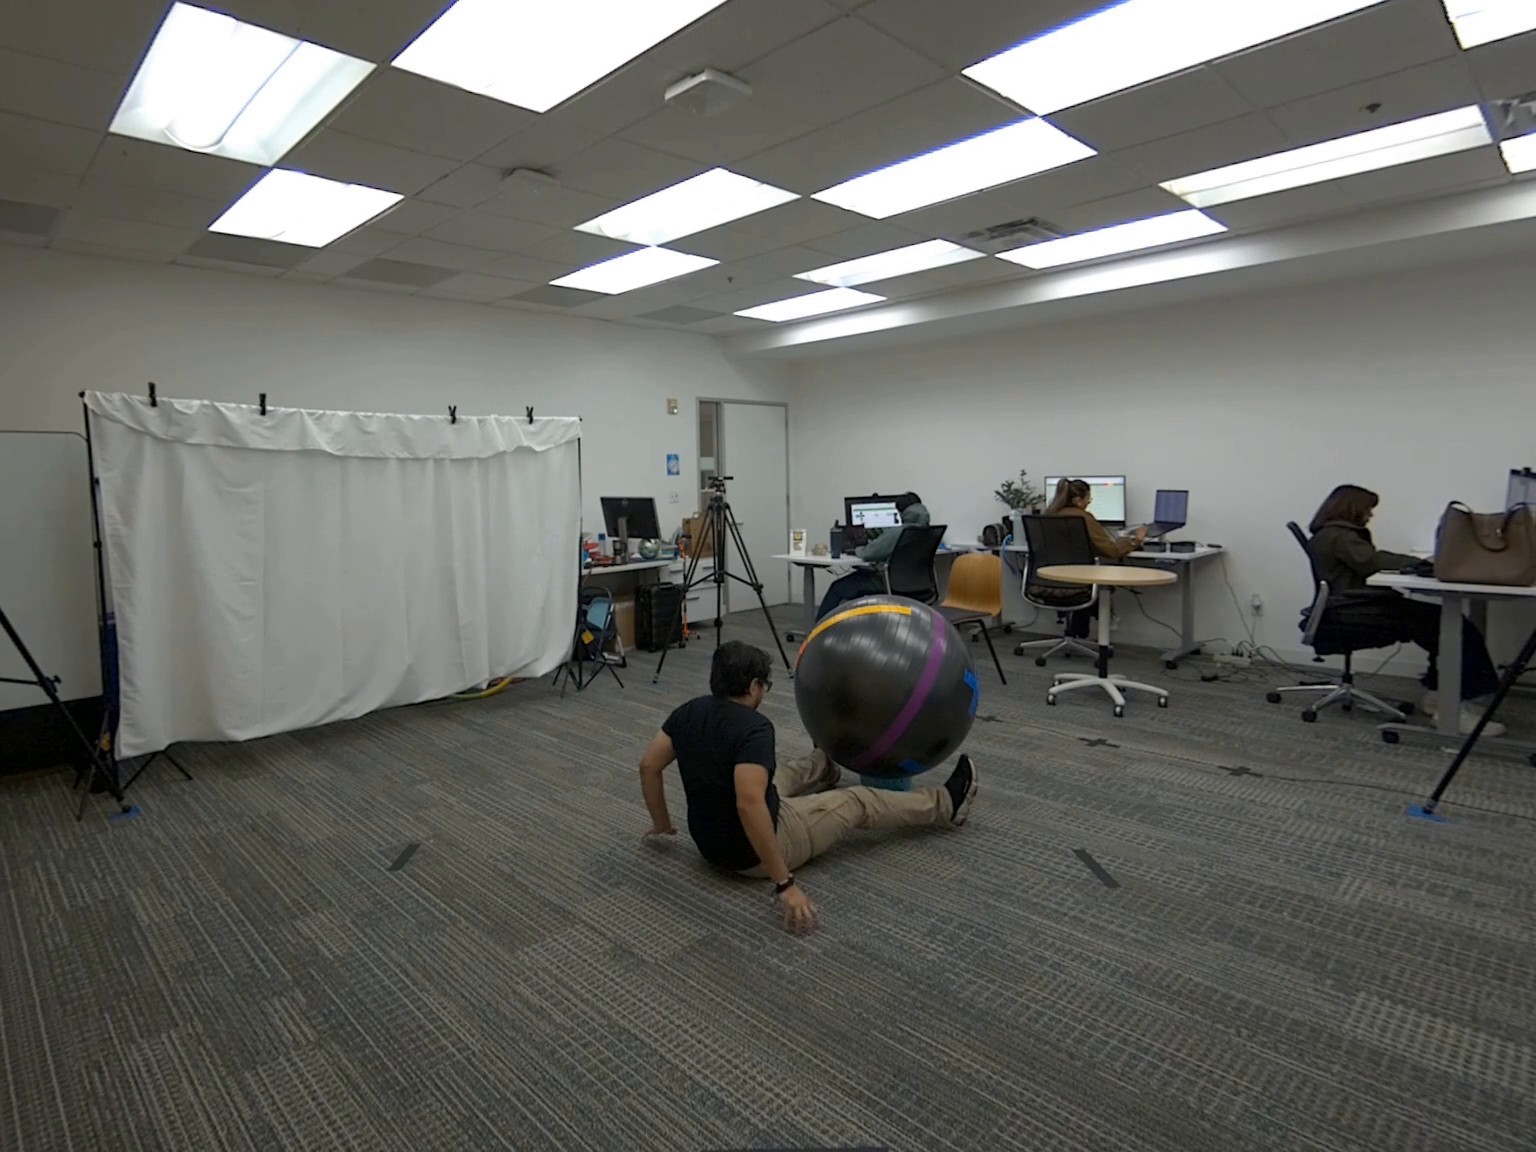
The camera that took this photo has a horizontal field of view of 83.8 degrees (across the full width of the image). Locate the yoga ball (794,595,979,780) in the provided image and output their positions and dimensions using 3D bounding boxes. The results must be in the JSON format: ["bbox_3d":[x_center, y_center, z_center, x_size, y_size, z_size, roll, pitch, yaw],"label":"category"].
[{"bbox_3d":[0.492,0.462,3.589,0.757,0.755,0.762,-1,5,-2],"label":"yoga ball"}]
